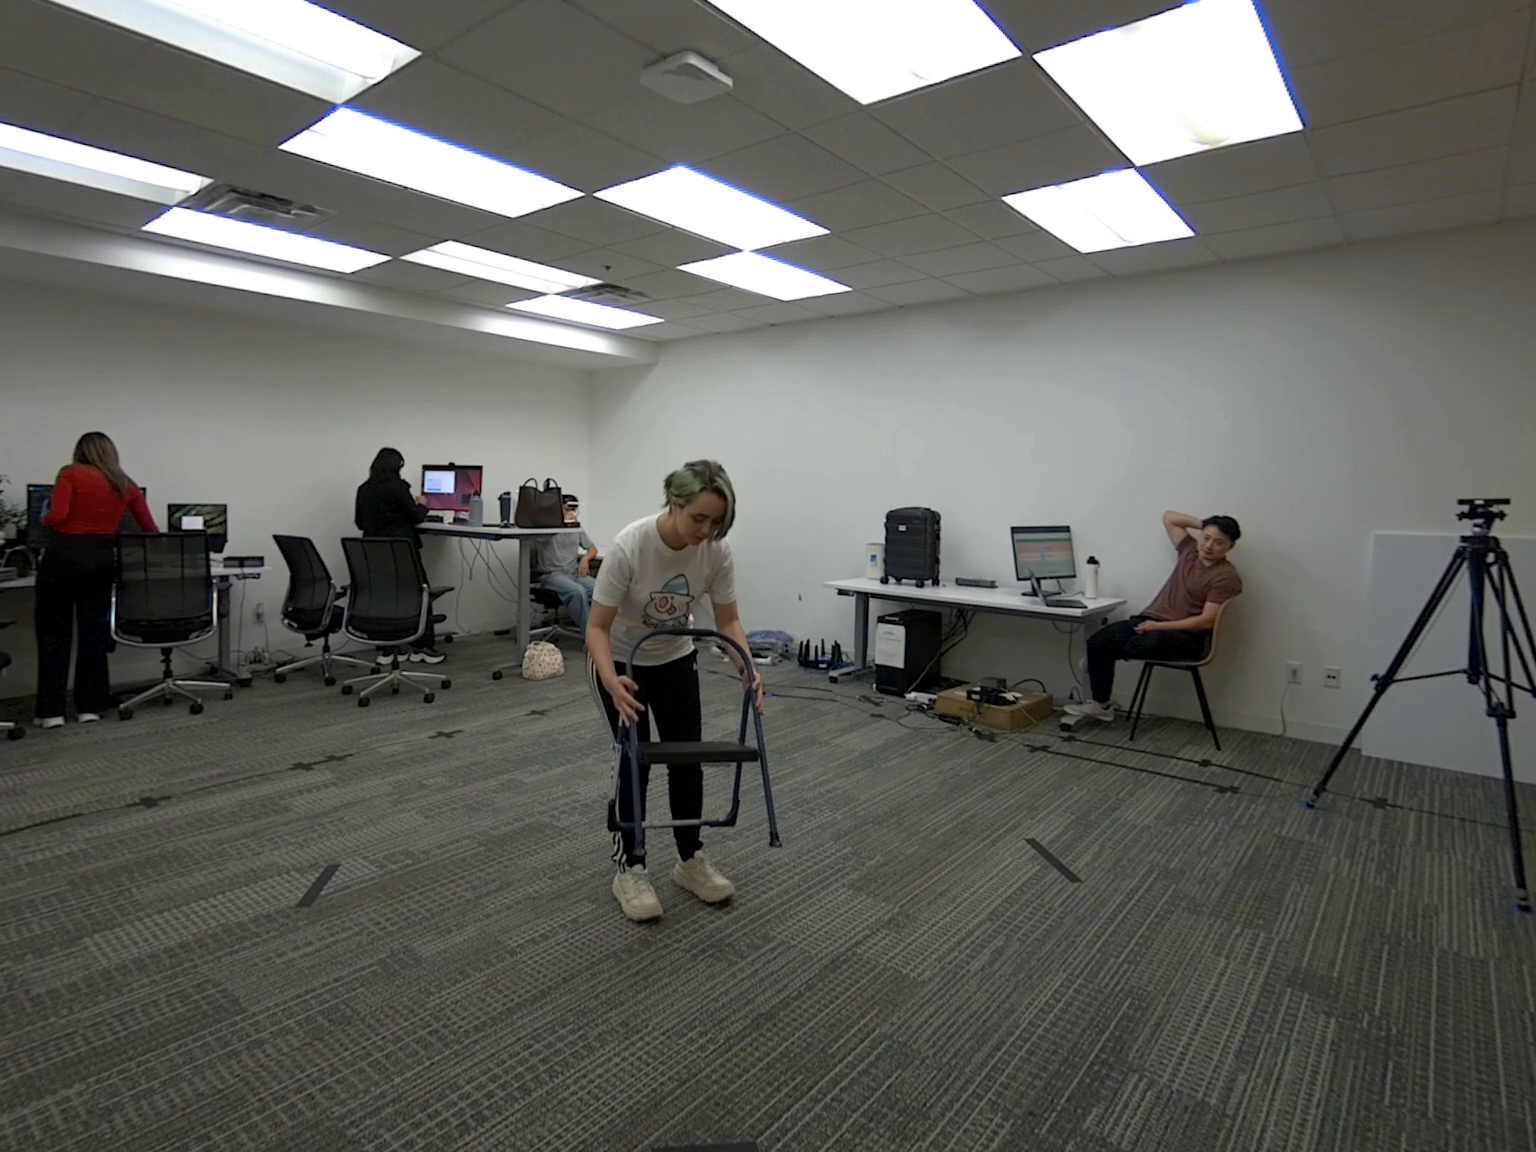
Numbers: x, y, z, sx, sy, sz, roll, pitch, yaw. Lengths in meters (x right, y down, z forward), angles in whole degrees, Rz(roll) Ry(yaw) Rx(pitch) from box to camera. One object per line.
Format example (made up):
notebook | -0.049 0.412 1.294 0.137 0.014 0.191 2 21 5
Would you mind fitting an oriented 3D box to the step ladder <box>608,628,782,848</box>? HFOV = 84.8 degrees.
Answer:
step ladder | -0.224 0.460 2.509 0.420 0.611 0.355 5 -10 -23
